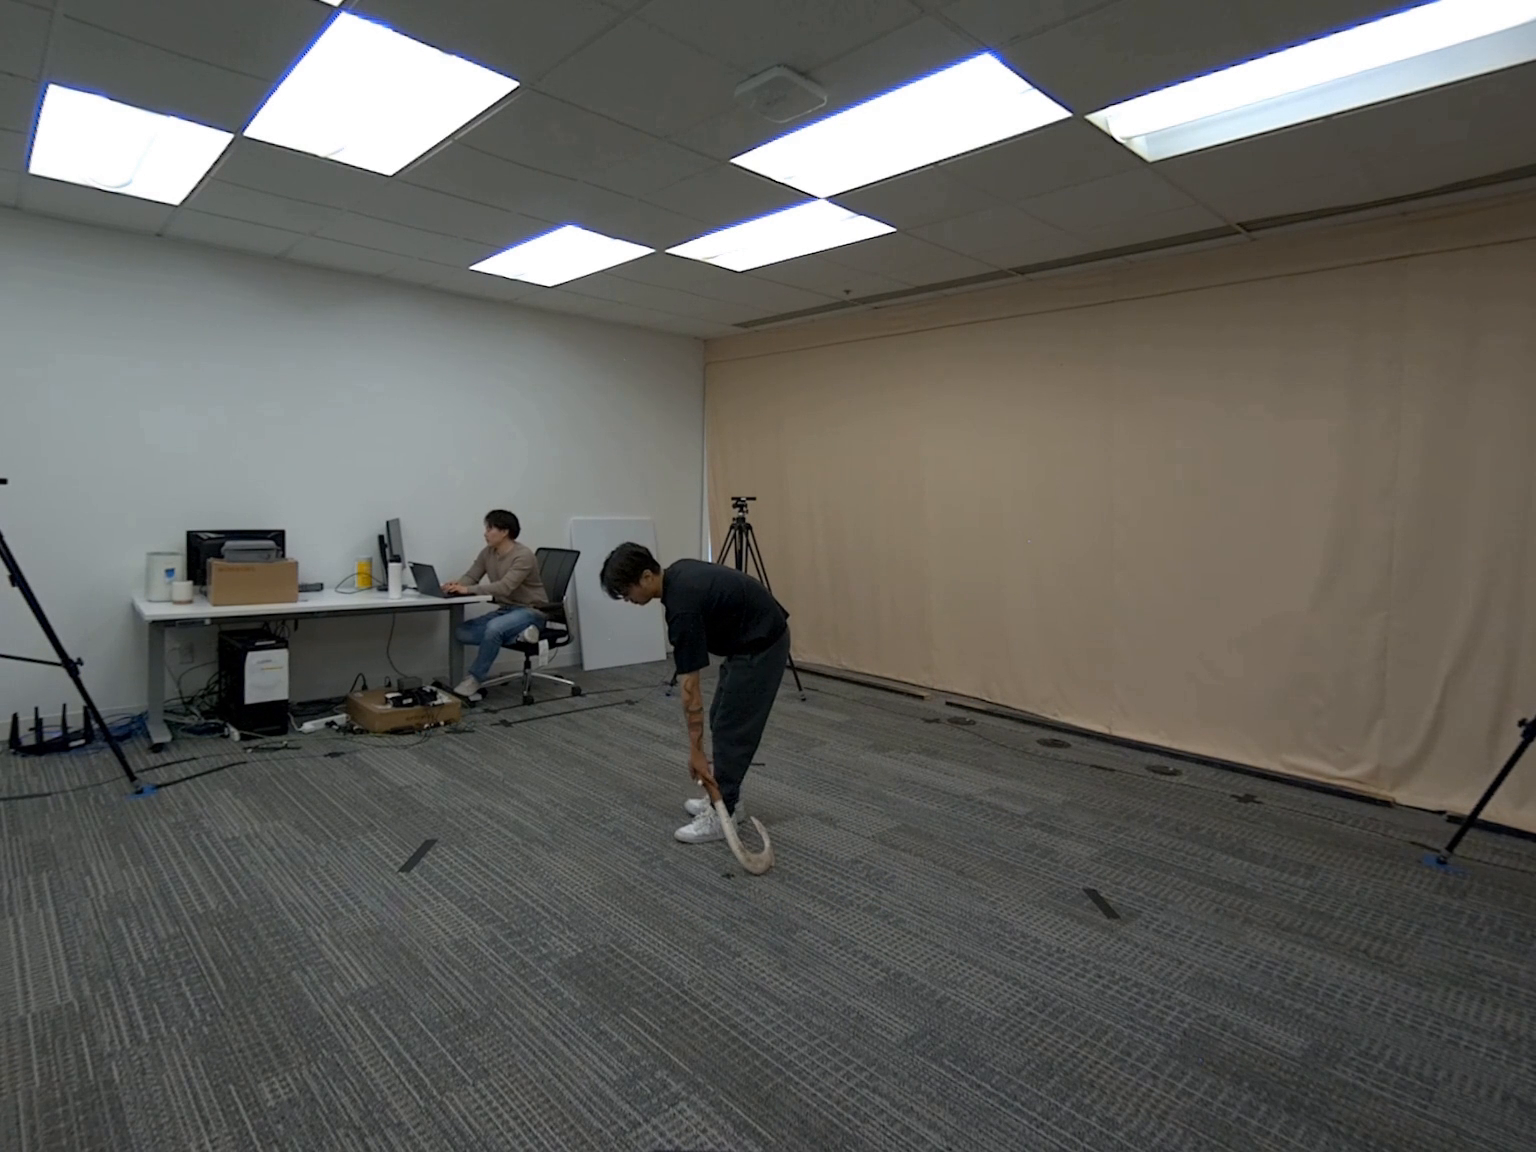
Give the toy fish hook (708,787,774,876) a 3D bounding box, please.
[{"bbox_3d":[-0.143,0.907,3.243,0.048,0.516,0.220,-42,-19,23],"label":"toy fish hook"}]
